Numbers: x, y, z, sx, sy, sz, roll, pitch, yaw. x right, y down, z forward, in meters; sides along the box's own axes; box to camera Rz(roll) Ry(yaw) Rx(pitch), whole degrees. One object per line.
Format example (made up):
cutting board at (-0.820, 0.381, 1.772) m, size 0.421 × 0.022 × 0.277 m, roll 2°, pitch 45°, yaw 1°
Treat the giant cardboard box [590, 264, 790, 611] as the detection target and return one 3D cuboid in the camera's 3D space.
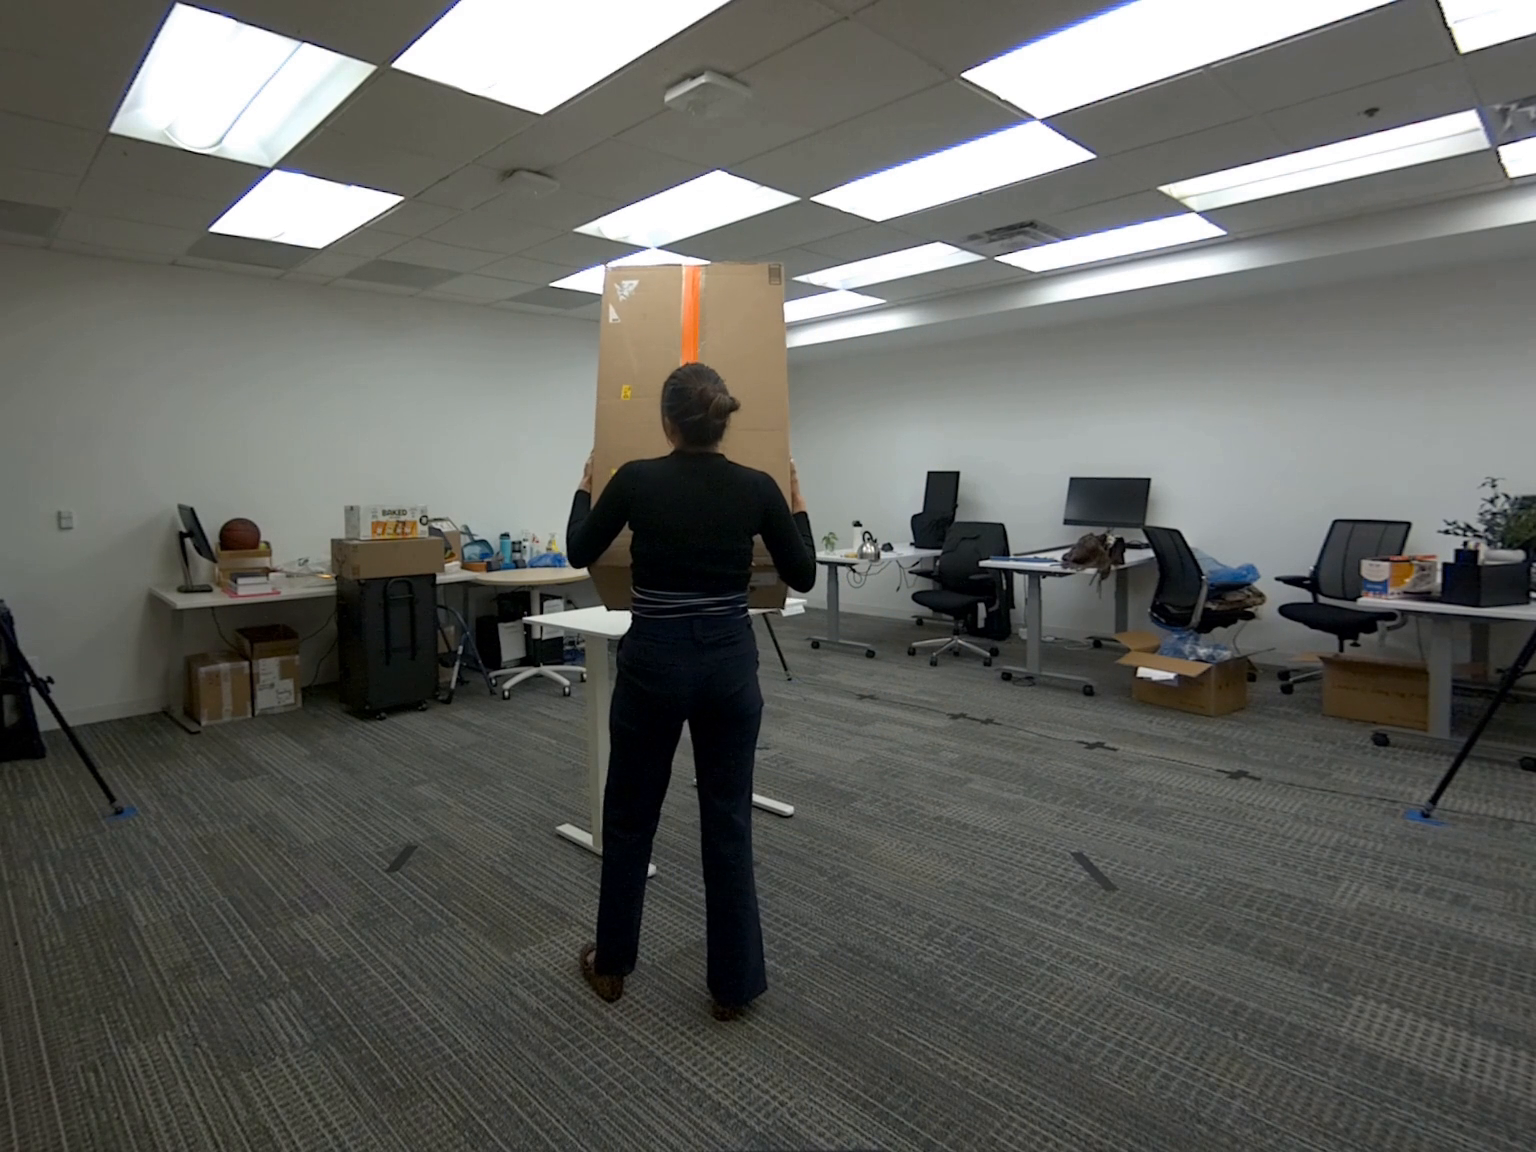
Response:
giant cardboard box at (-0.234, -0.440, 2.726) m, size 0.577 × 1.044 × 0.419 m, roll 0°, pitch -20°, yaw -1°
